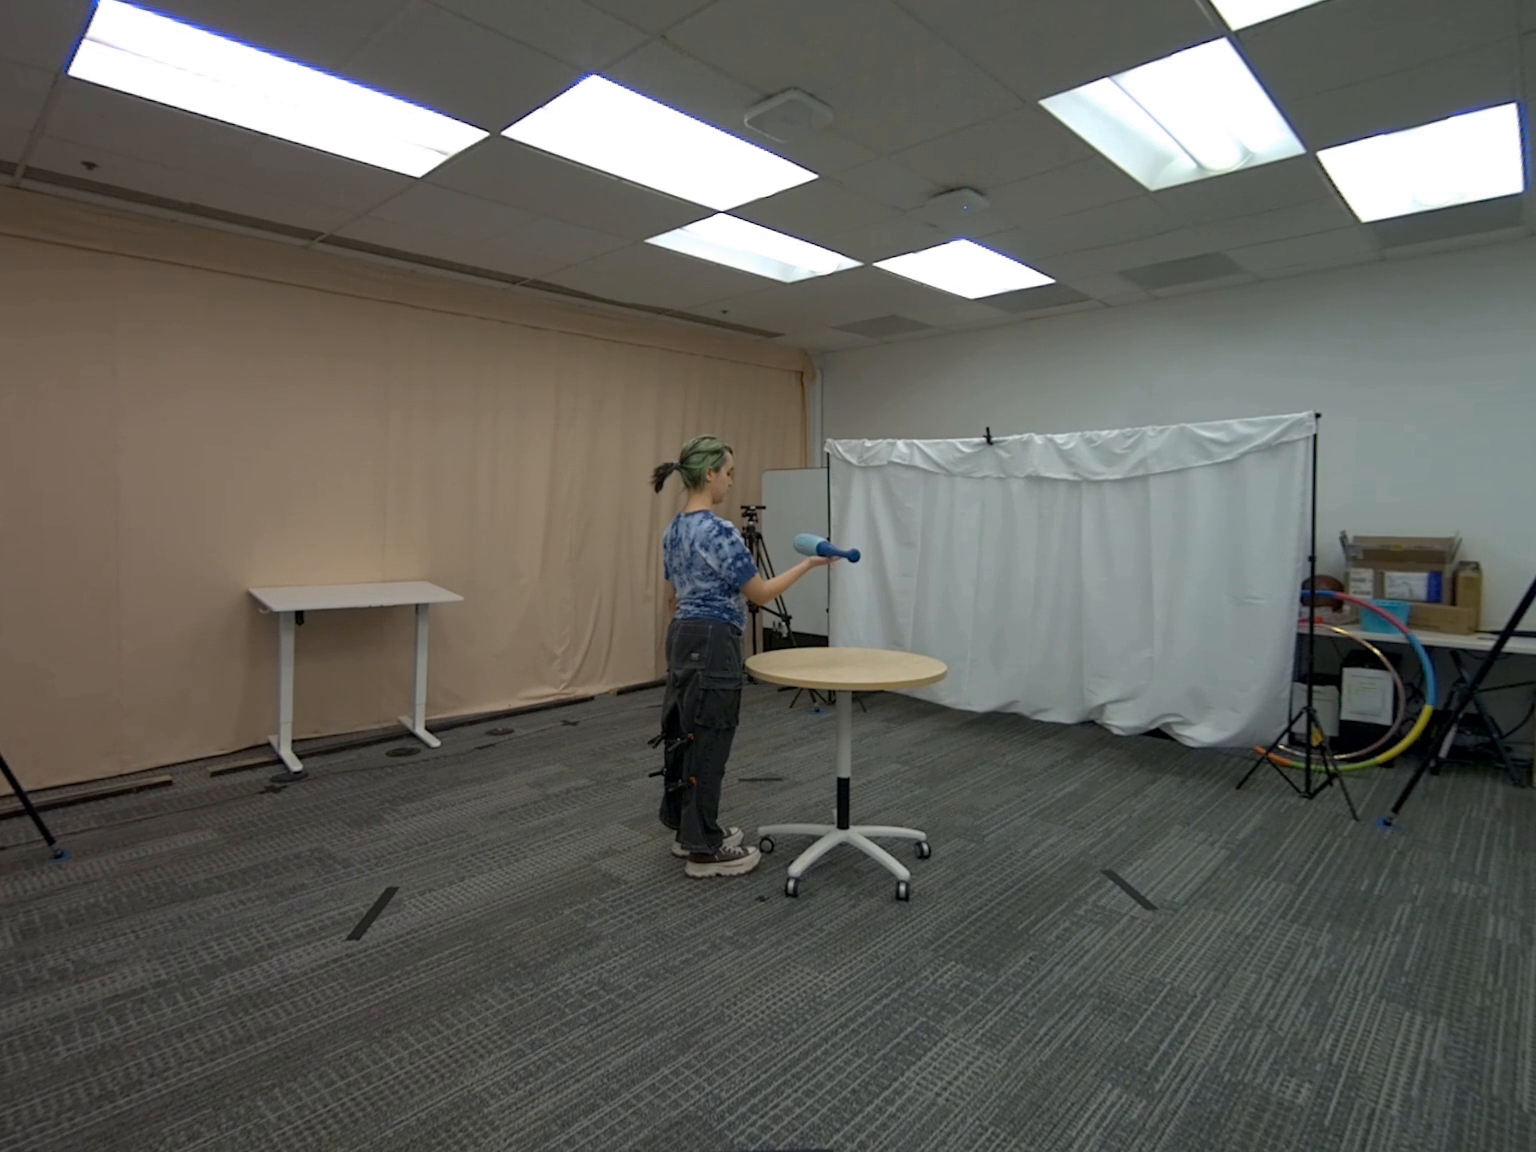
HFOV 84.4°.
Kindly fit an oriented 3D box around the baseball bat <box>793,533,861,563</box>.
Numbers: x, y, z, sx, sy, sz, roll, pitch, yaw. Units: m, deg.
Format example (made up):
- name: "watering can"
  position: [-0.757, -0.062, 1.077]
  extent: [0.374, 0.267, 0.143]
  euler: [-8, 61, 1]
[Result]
- name: "baseball bat"
  position: [0.230, -0.098, 3.221]
  extent: [0.087, 0.089, 0.554]
  euler: [-1, 8, -17]
